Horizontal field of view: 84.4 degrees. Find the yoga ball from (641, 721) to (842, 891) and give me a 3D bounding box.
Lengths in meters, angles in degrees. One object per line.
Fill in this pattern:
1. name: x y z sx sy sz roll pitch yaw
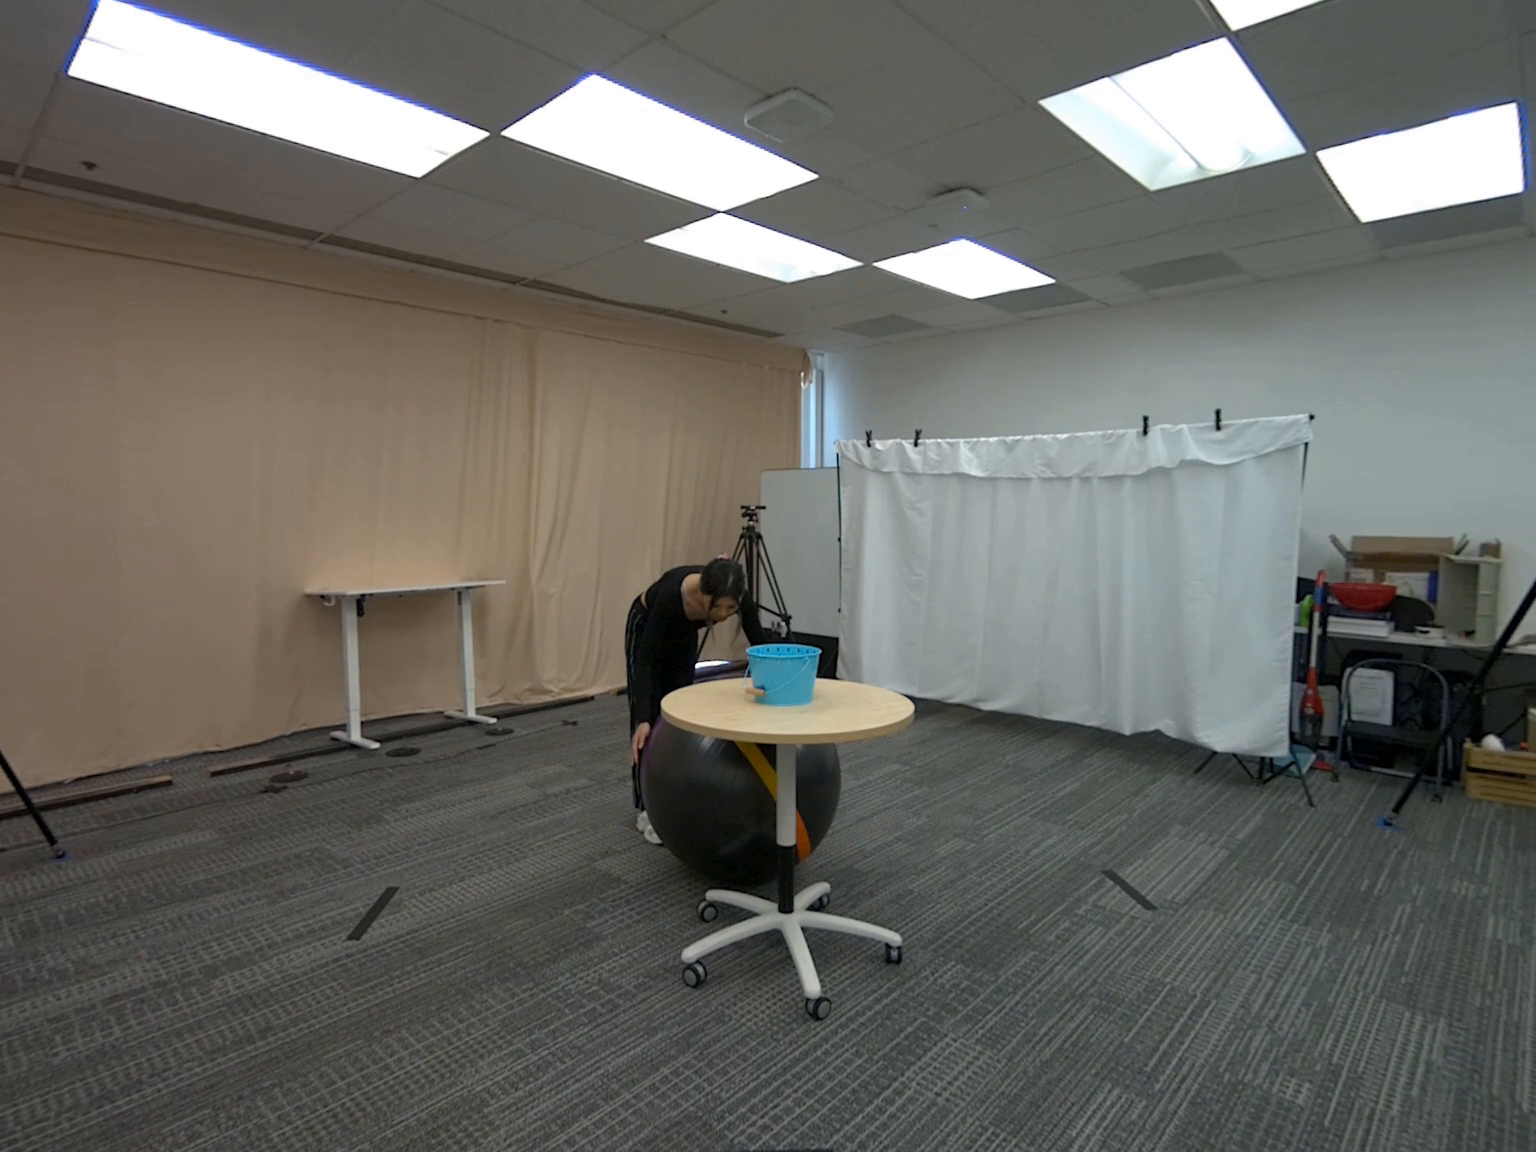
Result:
1. yoga ball: -0.106 0.760 3.197 0.757 0.756 0.760 0 4 -2
